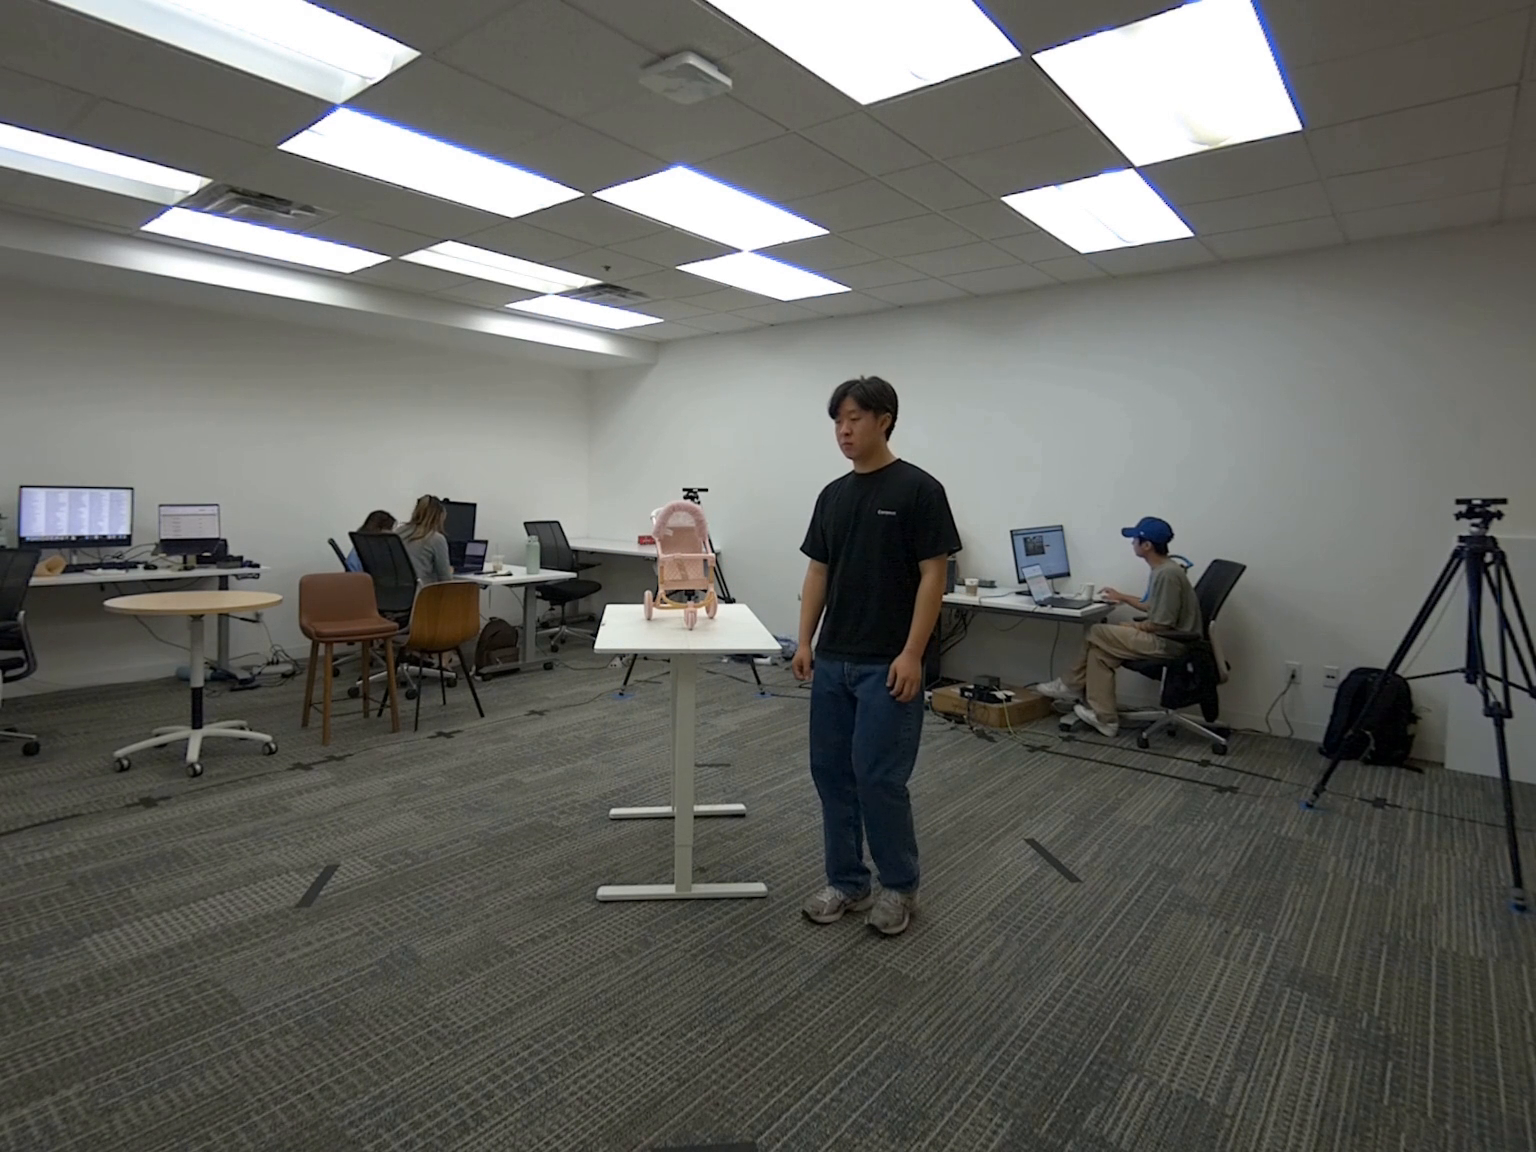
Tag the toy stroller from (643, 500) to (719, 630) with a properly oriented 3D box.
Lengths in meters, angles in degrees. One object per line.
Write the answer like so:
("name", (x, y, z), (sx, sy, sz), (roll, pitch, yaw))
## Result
("toy stroller", (-0.338, -0.051, 3.235), (0.279, 0.542, 0.340), (0, -12, -10))
